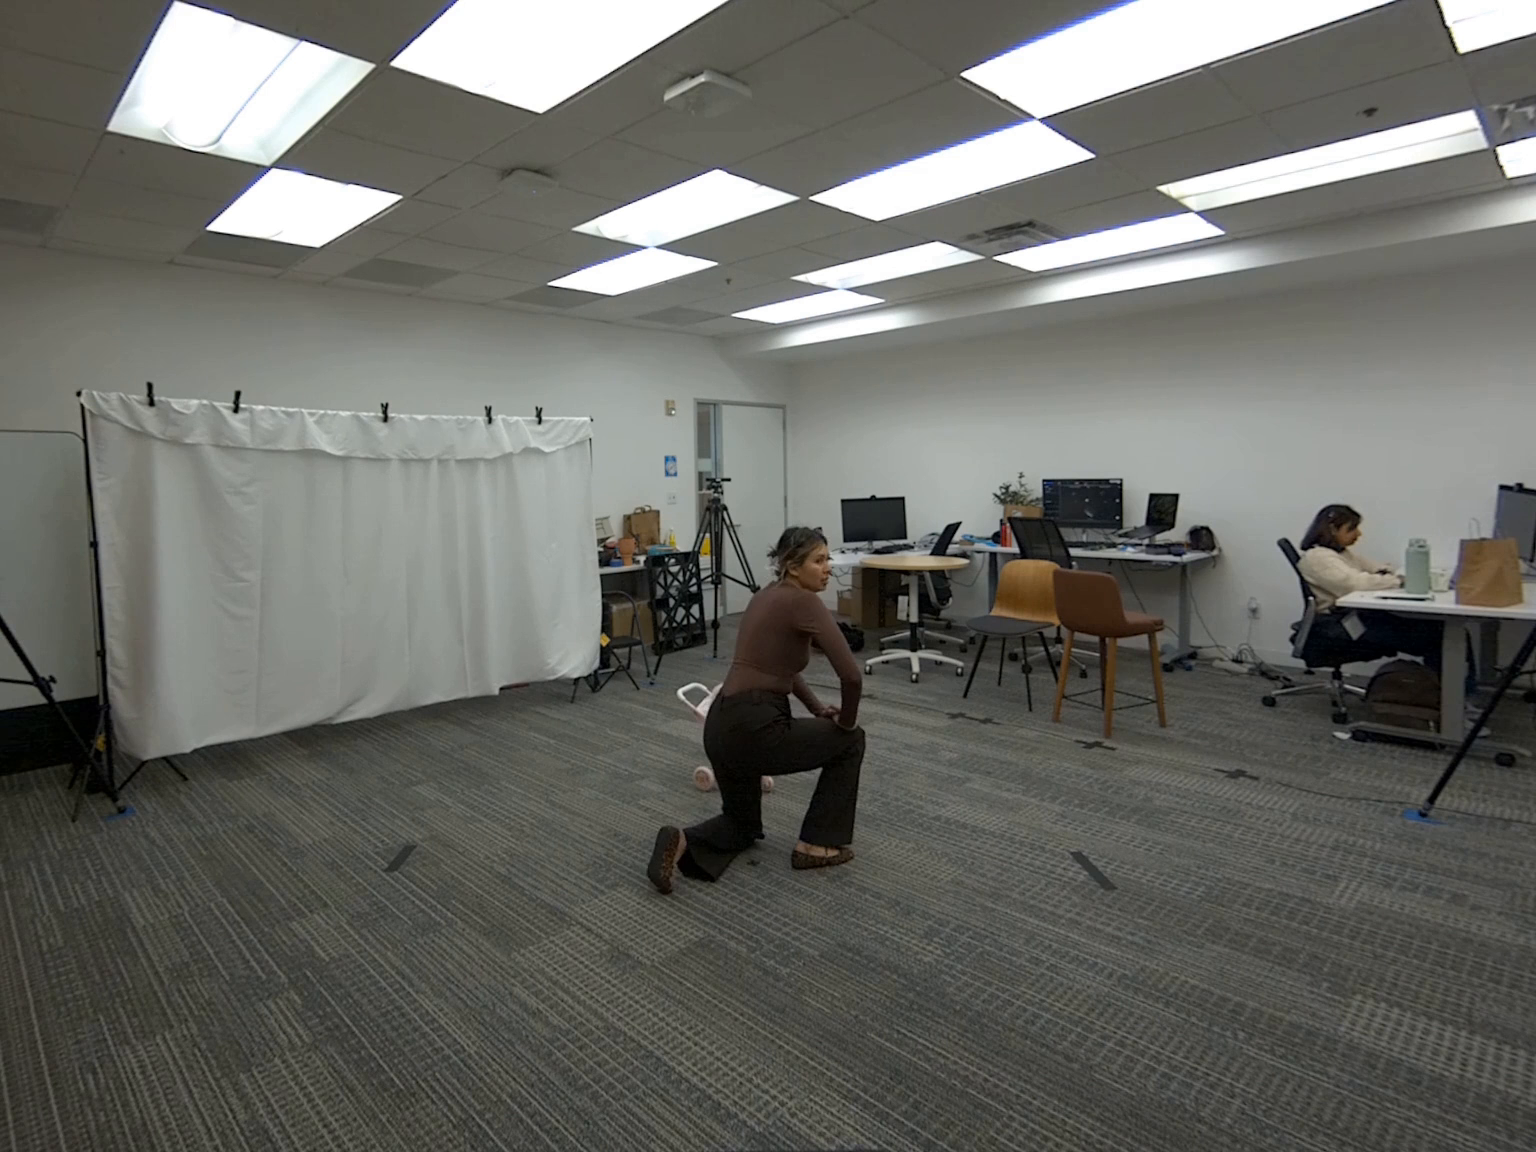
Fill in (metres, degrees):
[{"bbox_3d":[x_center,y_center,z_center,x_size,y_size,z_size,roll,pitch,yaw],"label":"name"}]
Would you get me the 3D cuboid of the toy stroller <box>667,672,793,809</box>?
[{"bbox_3d":[-0.175,0.726,3.887,0.347,0.537,0.275,-18,-4,34],"label":"toy stroller"}]
